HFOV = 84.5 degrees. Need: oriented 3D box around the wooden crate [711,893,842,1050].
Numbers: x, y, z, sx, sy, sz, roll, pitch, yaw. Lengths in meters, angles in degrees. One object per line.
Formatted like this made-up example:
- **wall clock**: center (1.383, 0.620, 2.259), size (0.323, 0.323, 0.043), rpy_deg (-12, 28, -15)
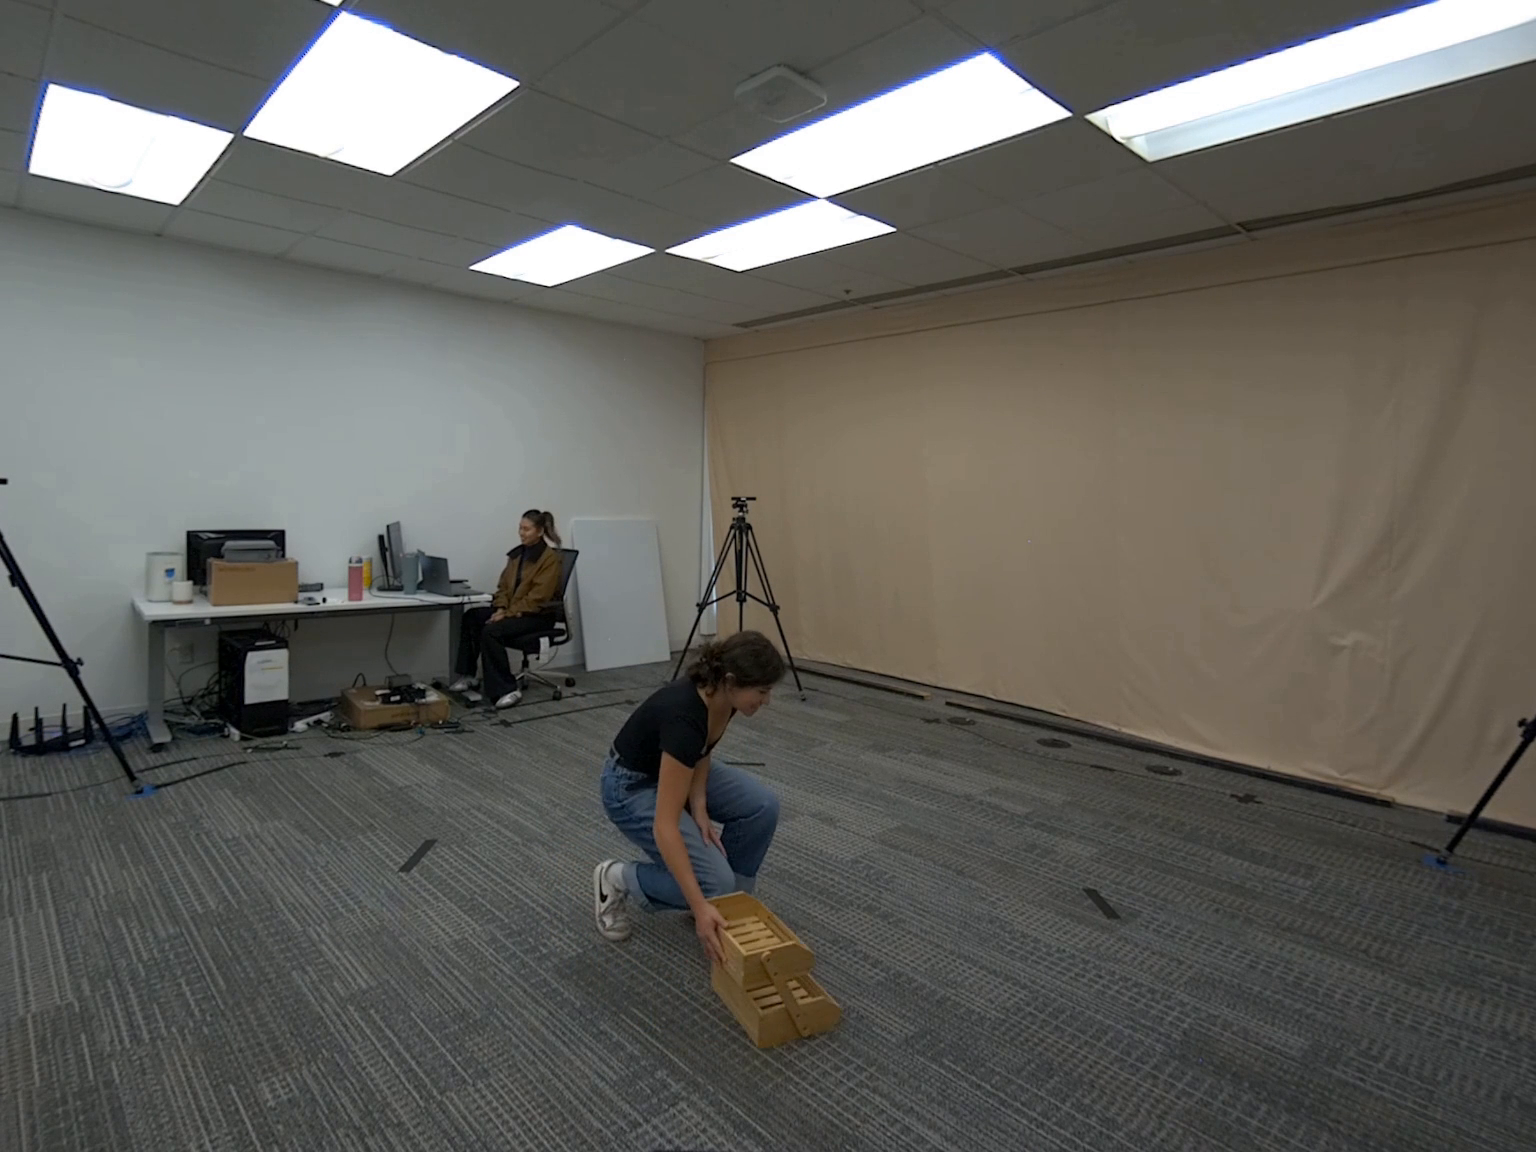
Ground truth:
- **wooden crate**: center (-0.007, 1.050, 2.297), size (0.296, 0.272, 0.331), rpy_deg (-1, 5, -27)
